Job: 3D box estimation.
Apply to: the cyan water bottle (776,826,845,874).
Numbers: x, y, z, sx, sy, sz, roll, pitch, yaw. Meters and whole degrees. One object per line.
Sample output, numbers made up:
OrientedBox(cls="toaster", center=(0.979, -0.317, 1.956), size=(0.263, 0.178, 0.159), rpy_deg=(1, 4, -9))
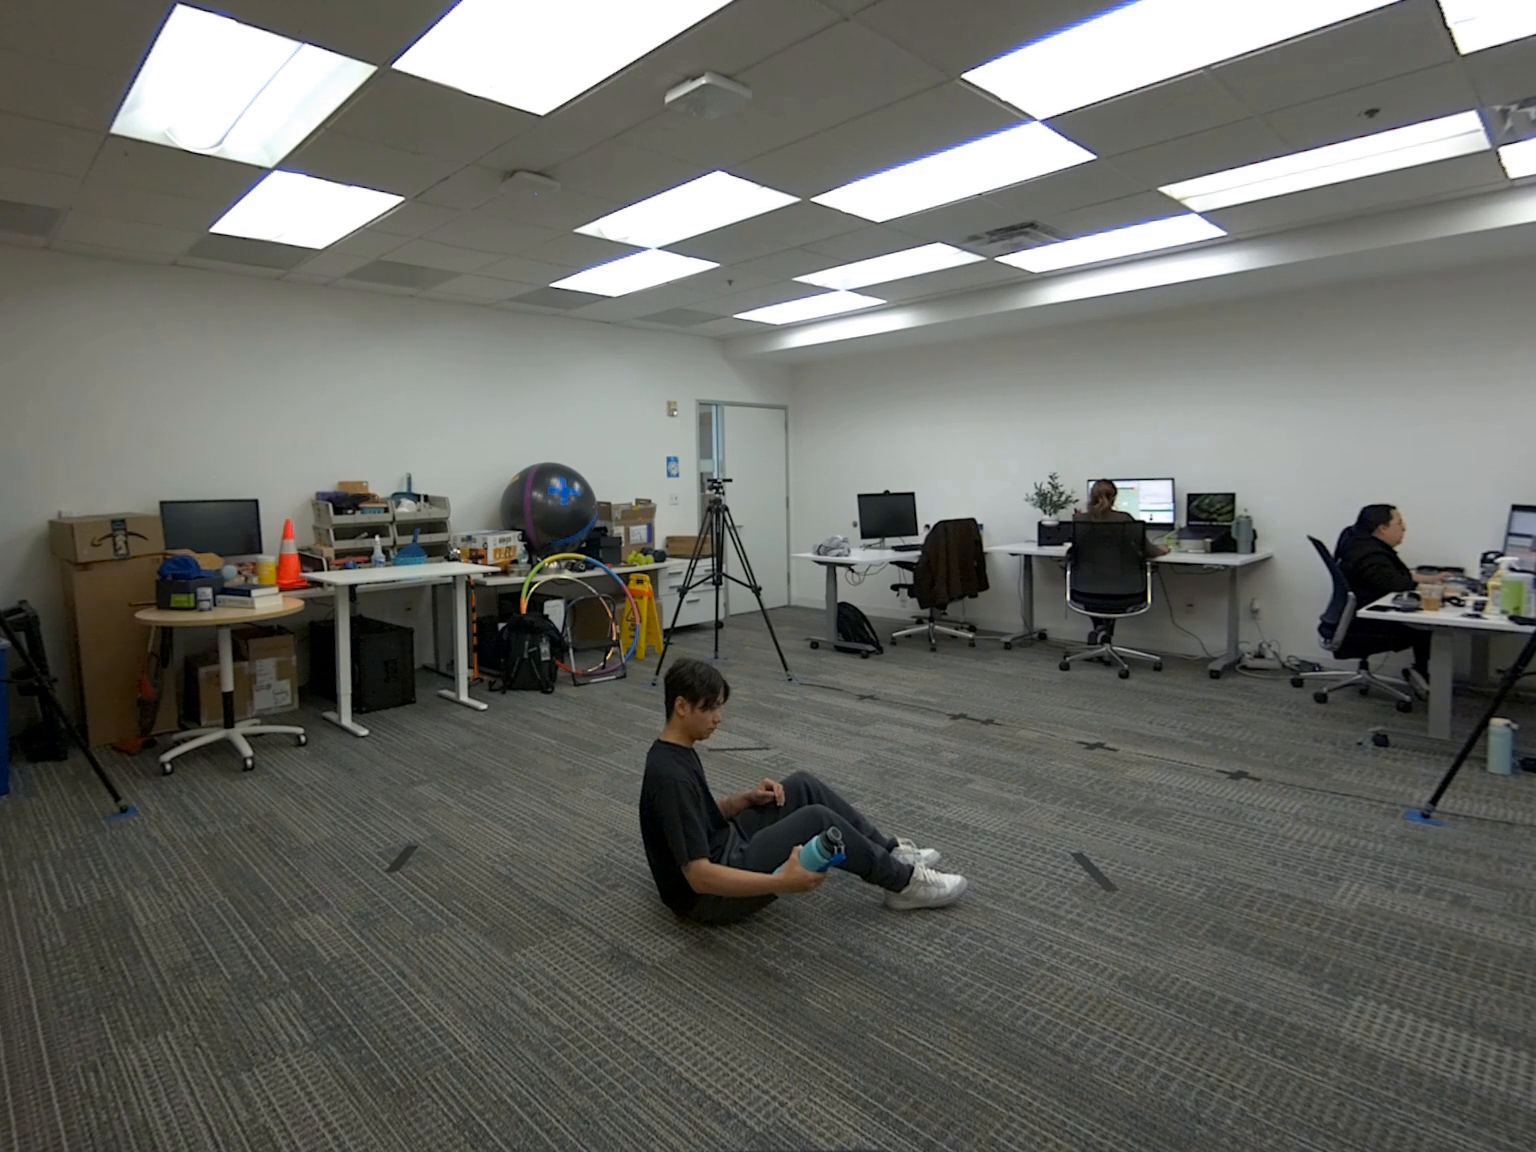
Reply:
OrientedBox(cls="cyan water bottle", center=(0.130, 0.826, 2.453), size=(0.090, 0.282, 0.095), rpy_deg=(26, 34, -20))
